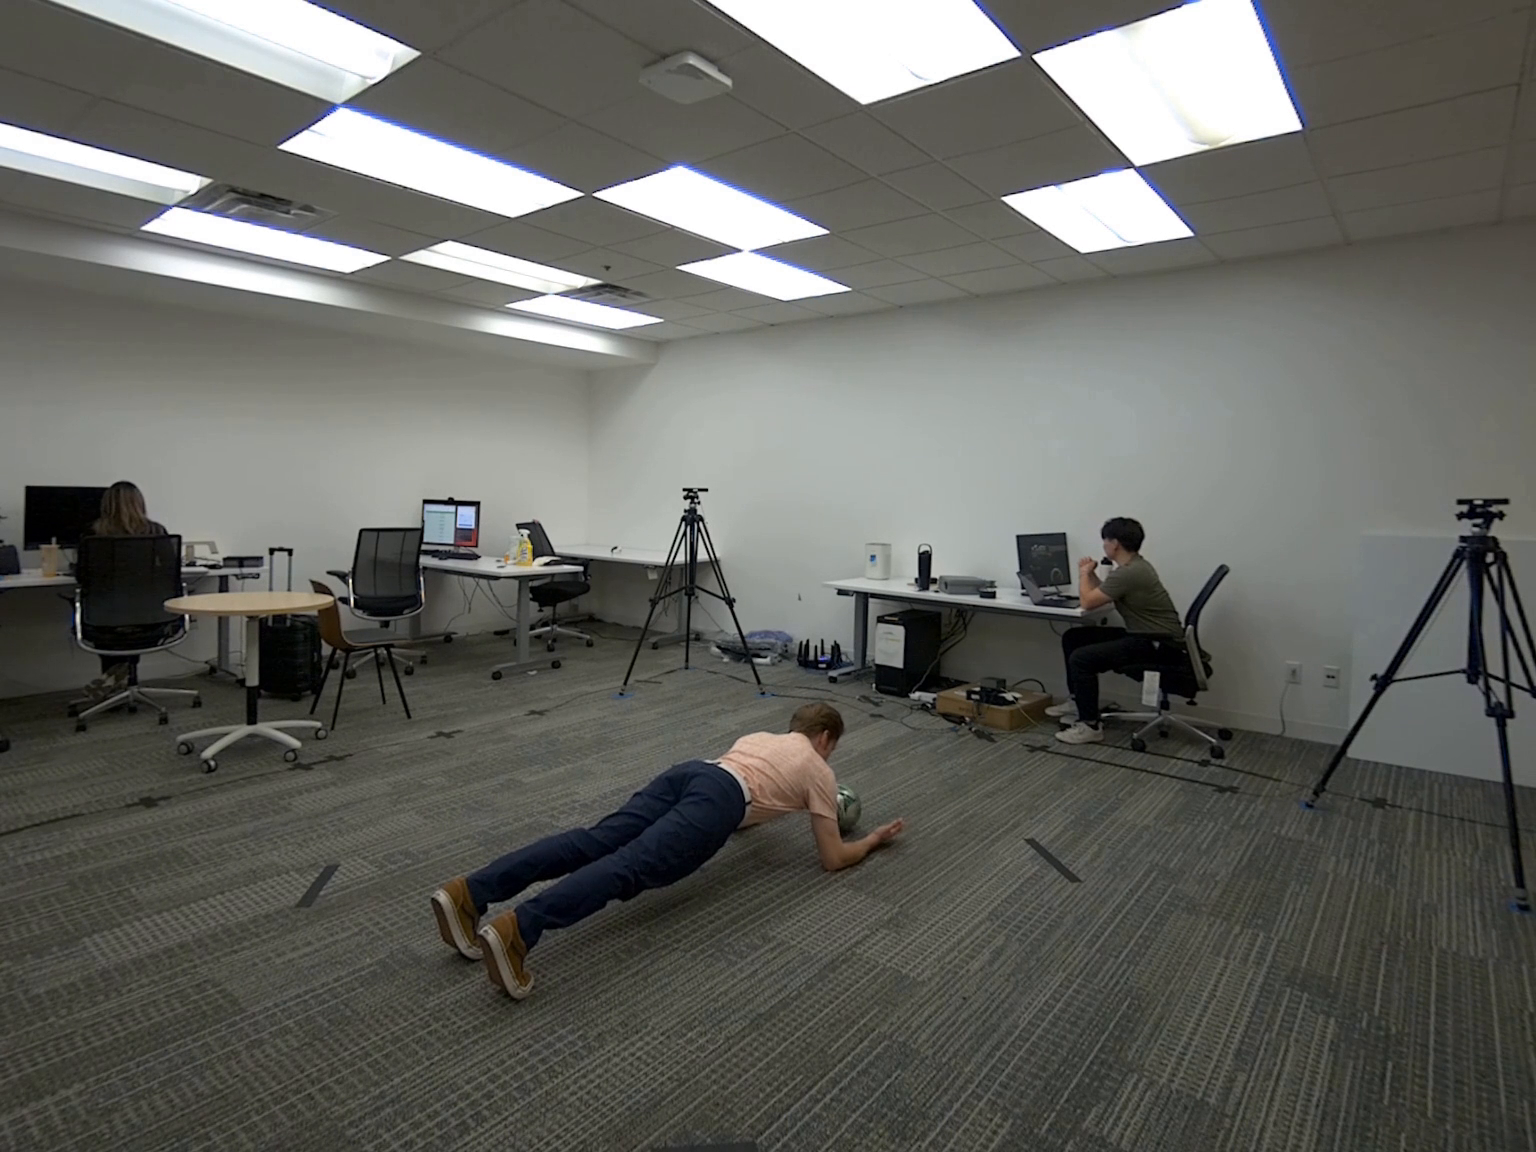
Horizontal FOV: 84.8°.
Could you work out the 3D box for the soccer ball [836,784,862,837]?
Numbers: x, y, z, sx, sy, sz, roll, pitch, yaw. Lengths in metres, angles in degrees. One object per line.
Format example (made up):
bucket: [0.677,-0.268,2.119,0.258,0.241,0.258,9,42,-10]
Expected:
soccer ball: [0.281,0.951,3.500,0.187,0.187,0.188,1,4,-2]
